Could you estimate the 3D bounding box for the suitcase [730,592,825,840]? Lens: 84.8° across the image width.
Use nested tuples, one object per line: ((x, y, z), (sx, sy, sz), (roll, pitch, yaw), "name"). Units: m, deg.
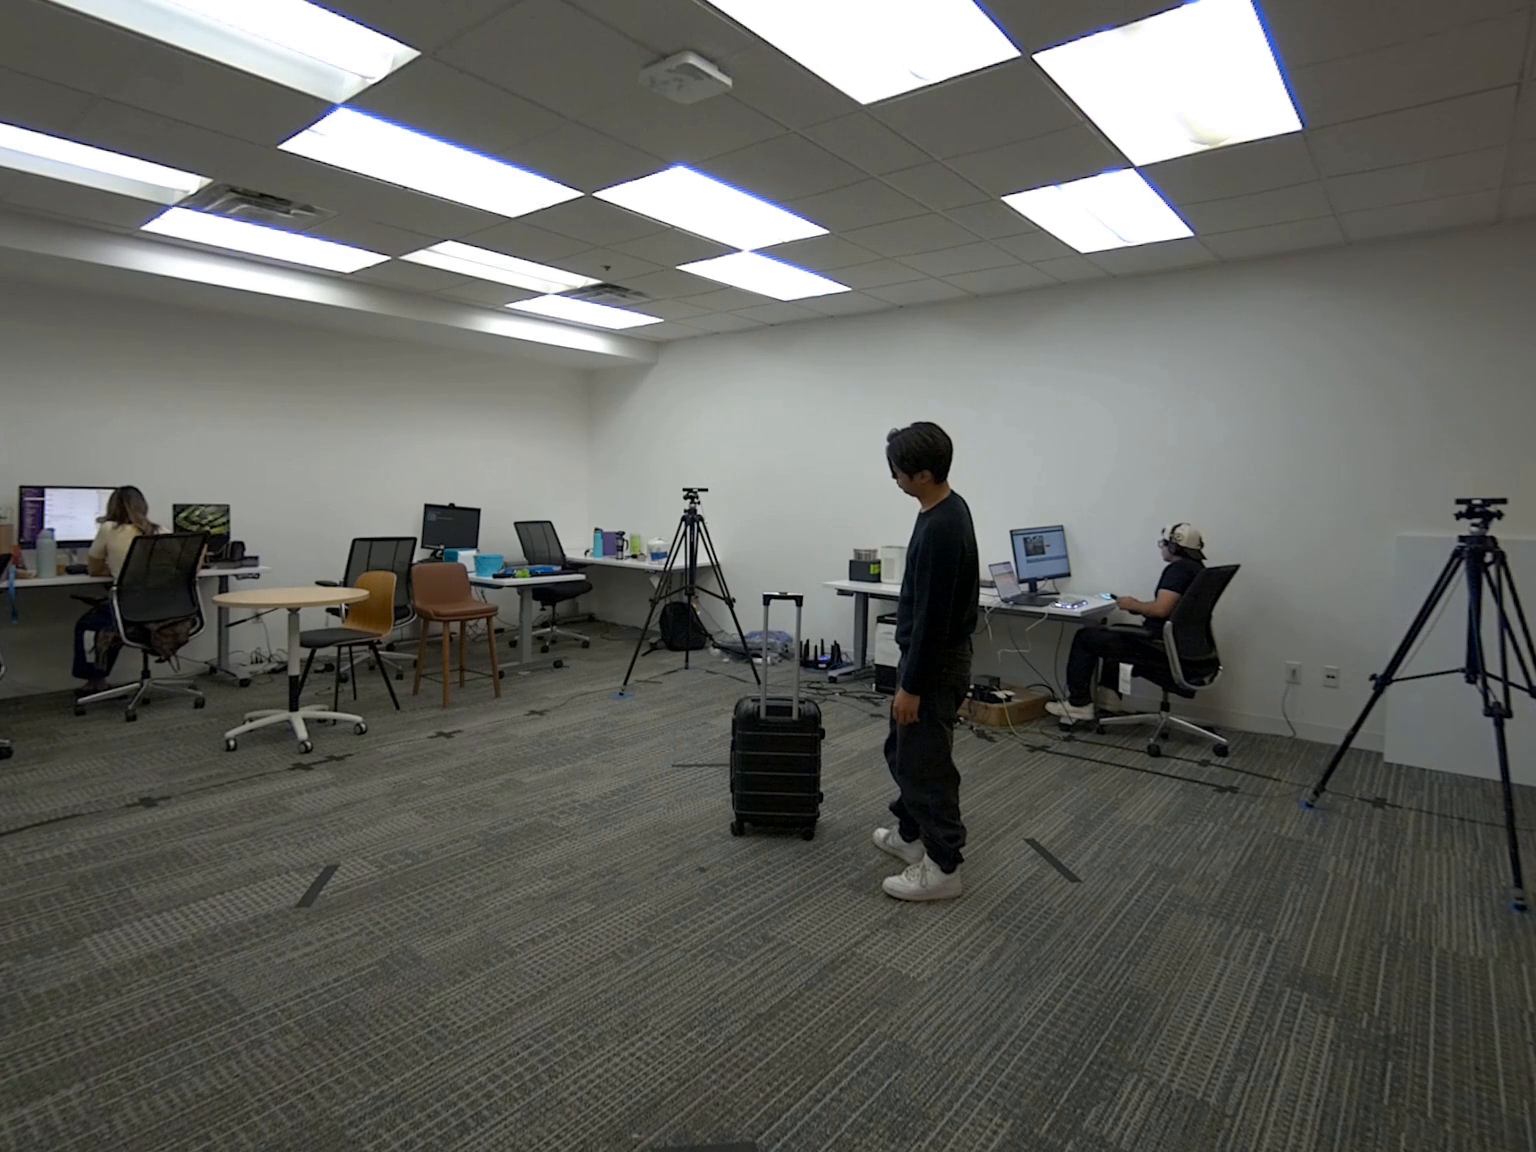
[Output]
((0.032, 0.556, 3.499), (0.384, 0.978, 0.257), (2, 1, 0), "suitcase")
